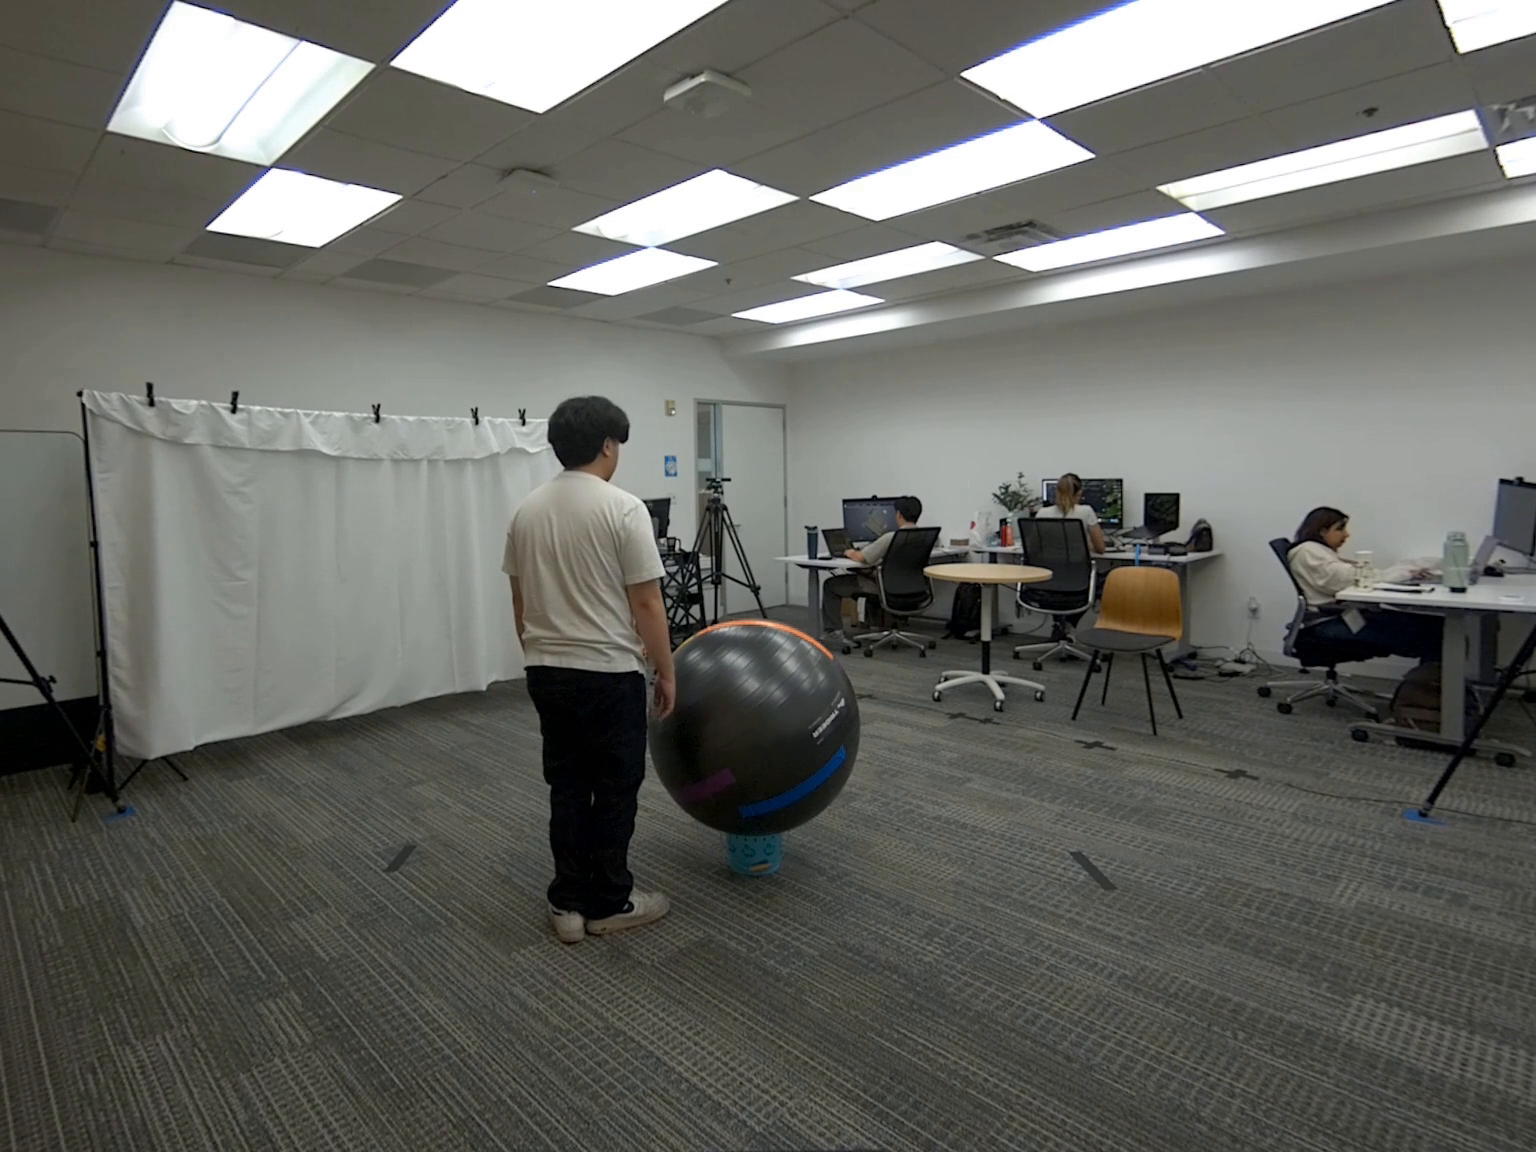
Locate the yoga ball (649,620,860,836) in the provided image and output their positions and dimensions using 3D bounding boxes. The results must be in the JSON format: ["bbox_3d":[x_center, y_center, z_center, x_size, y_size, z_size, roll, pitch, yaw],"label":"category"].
[{"bbox_3d":[-0.055,0.536,3.062,0.757,0.755,0.762,-1,5,-2],"label":"yoga ball"}]
